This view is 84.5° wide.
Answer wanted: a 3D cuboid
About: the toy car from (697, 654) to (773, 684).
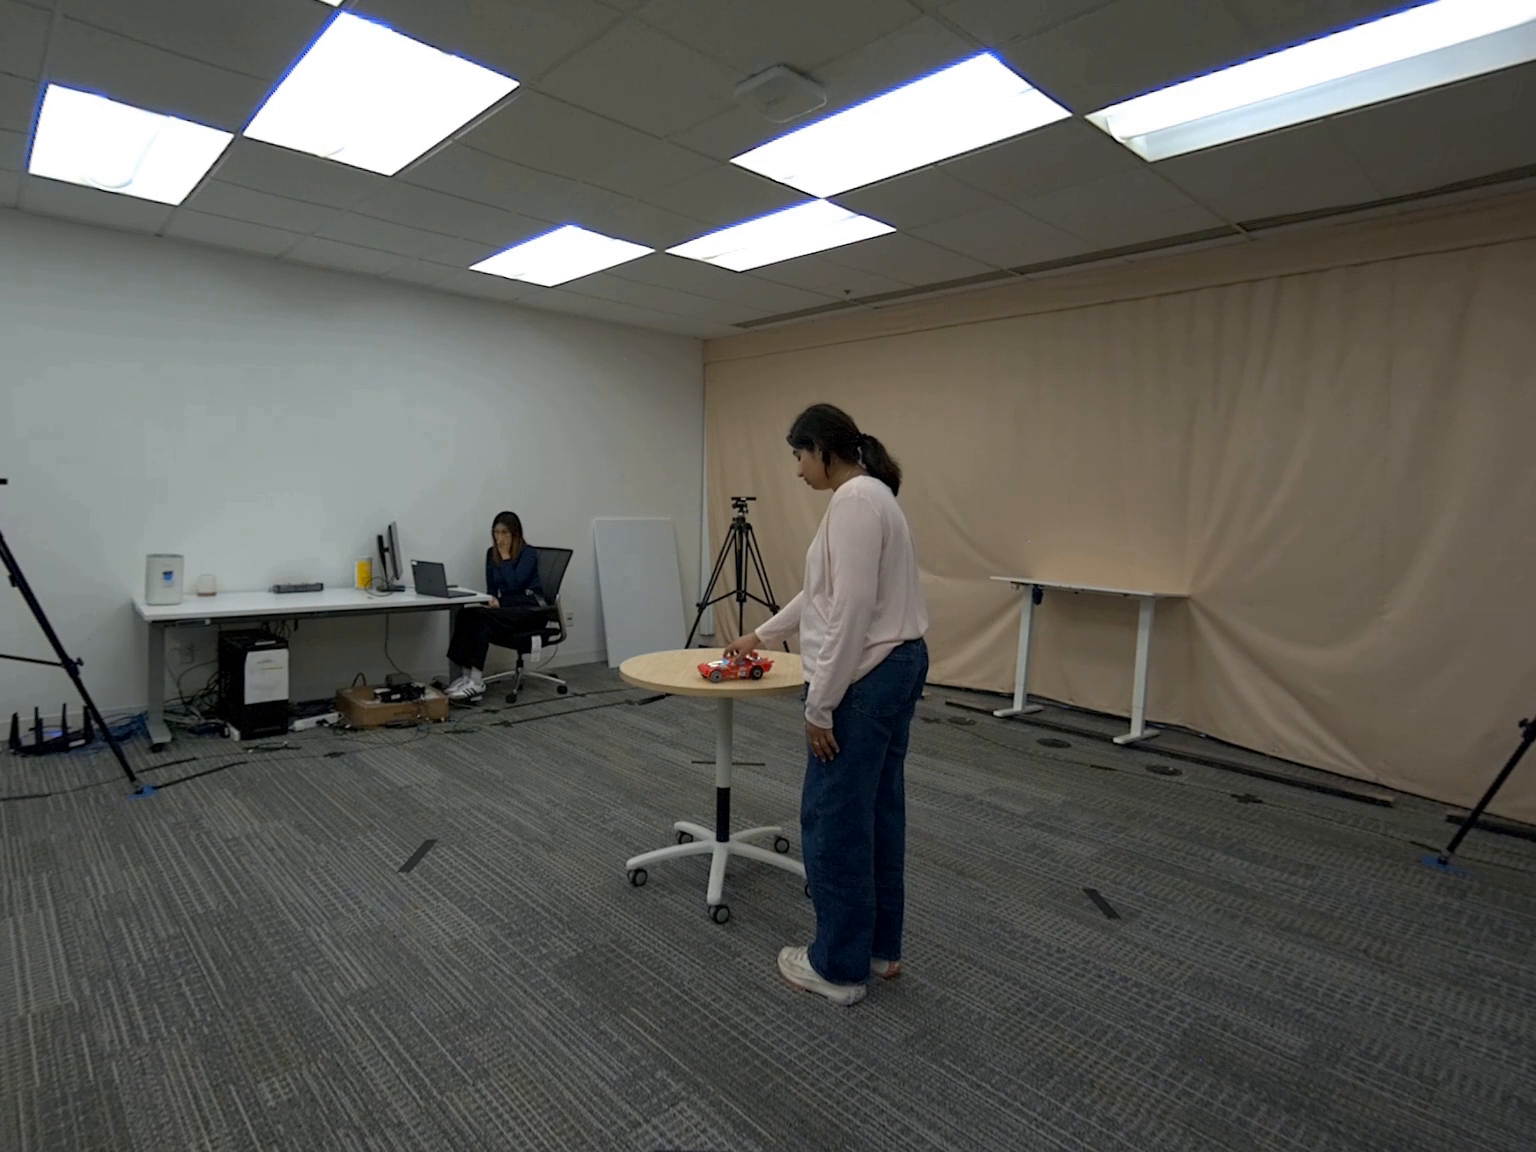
[{"bbox_3d":[-0.108,0.314,2.842,0.251,0.082,0.133,-13,9,-20],"label":"toy car"}]
